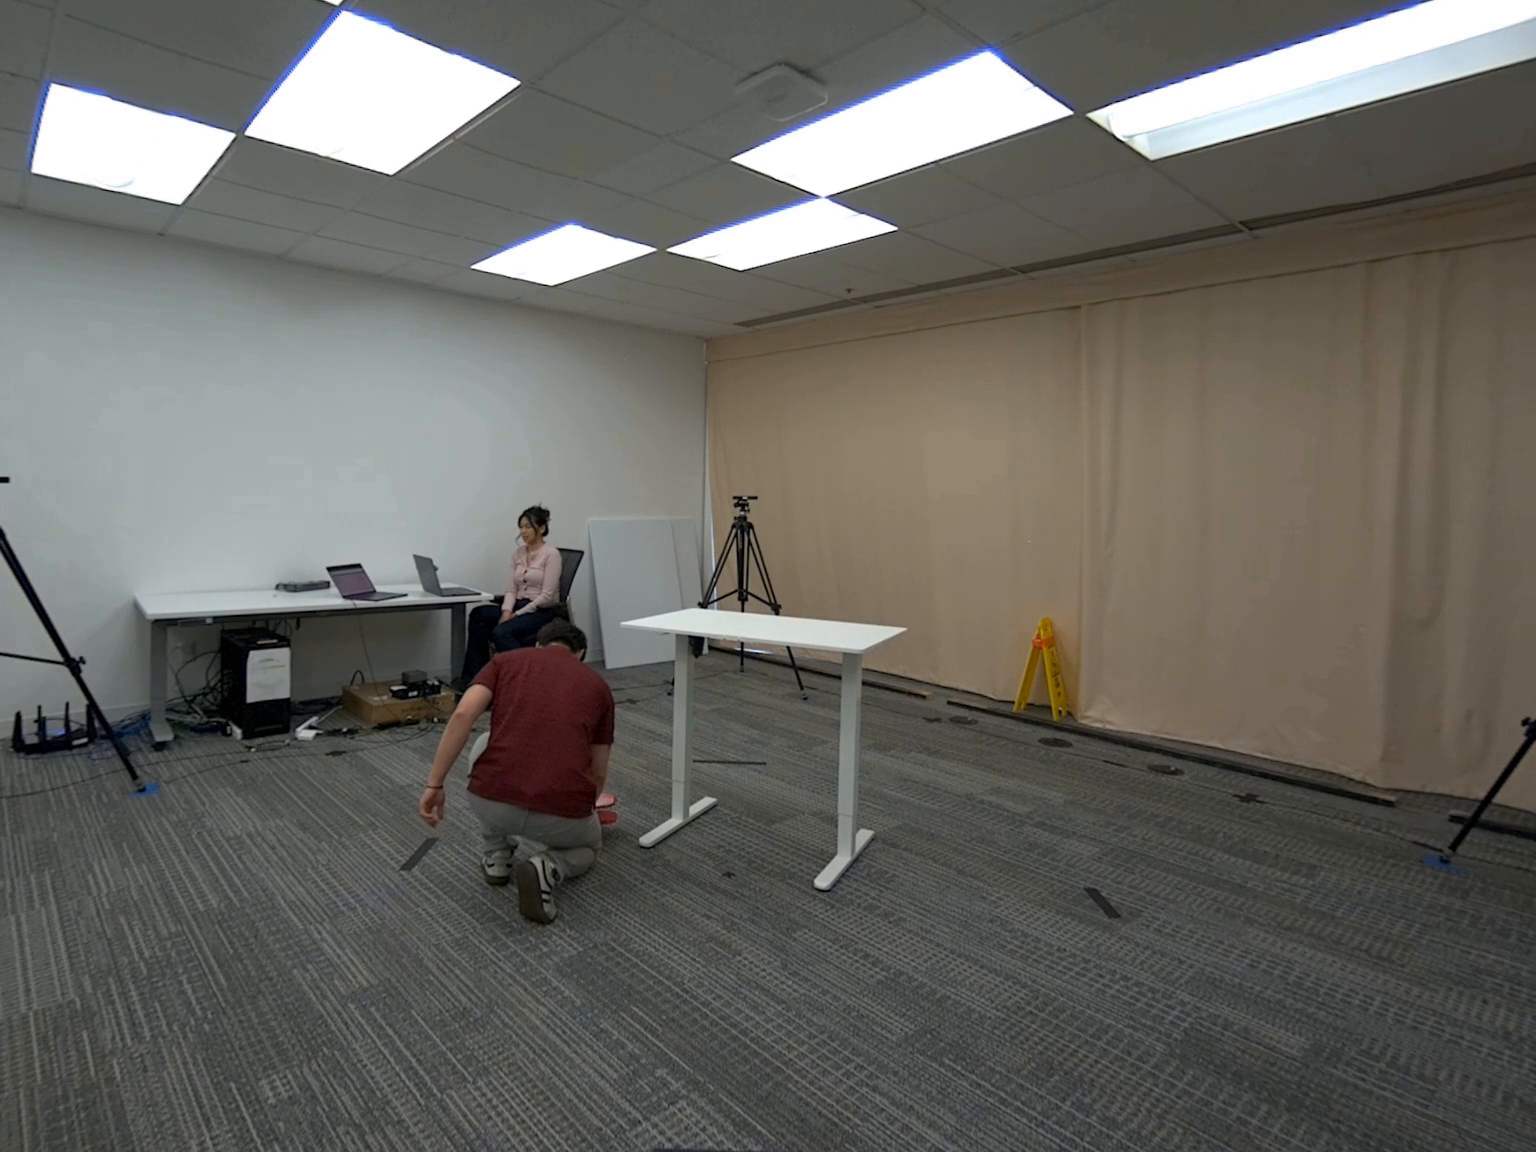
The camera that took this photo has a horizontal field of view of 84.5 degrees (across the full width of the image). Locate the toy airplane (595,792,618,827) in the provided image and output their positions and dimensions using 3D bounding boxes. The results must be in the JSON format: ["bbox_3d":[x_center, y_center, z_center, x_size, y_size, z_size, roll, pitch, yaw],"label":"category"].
[{"bbox_3d":[-0.730,0.985,3.401,0.246,0.156,0.265,-3,3,-32],"label":"toy airplane"}]
